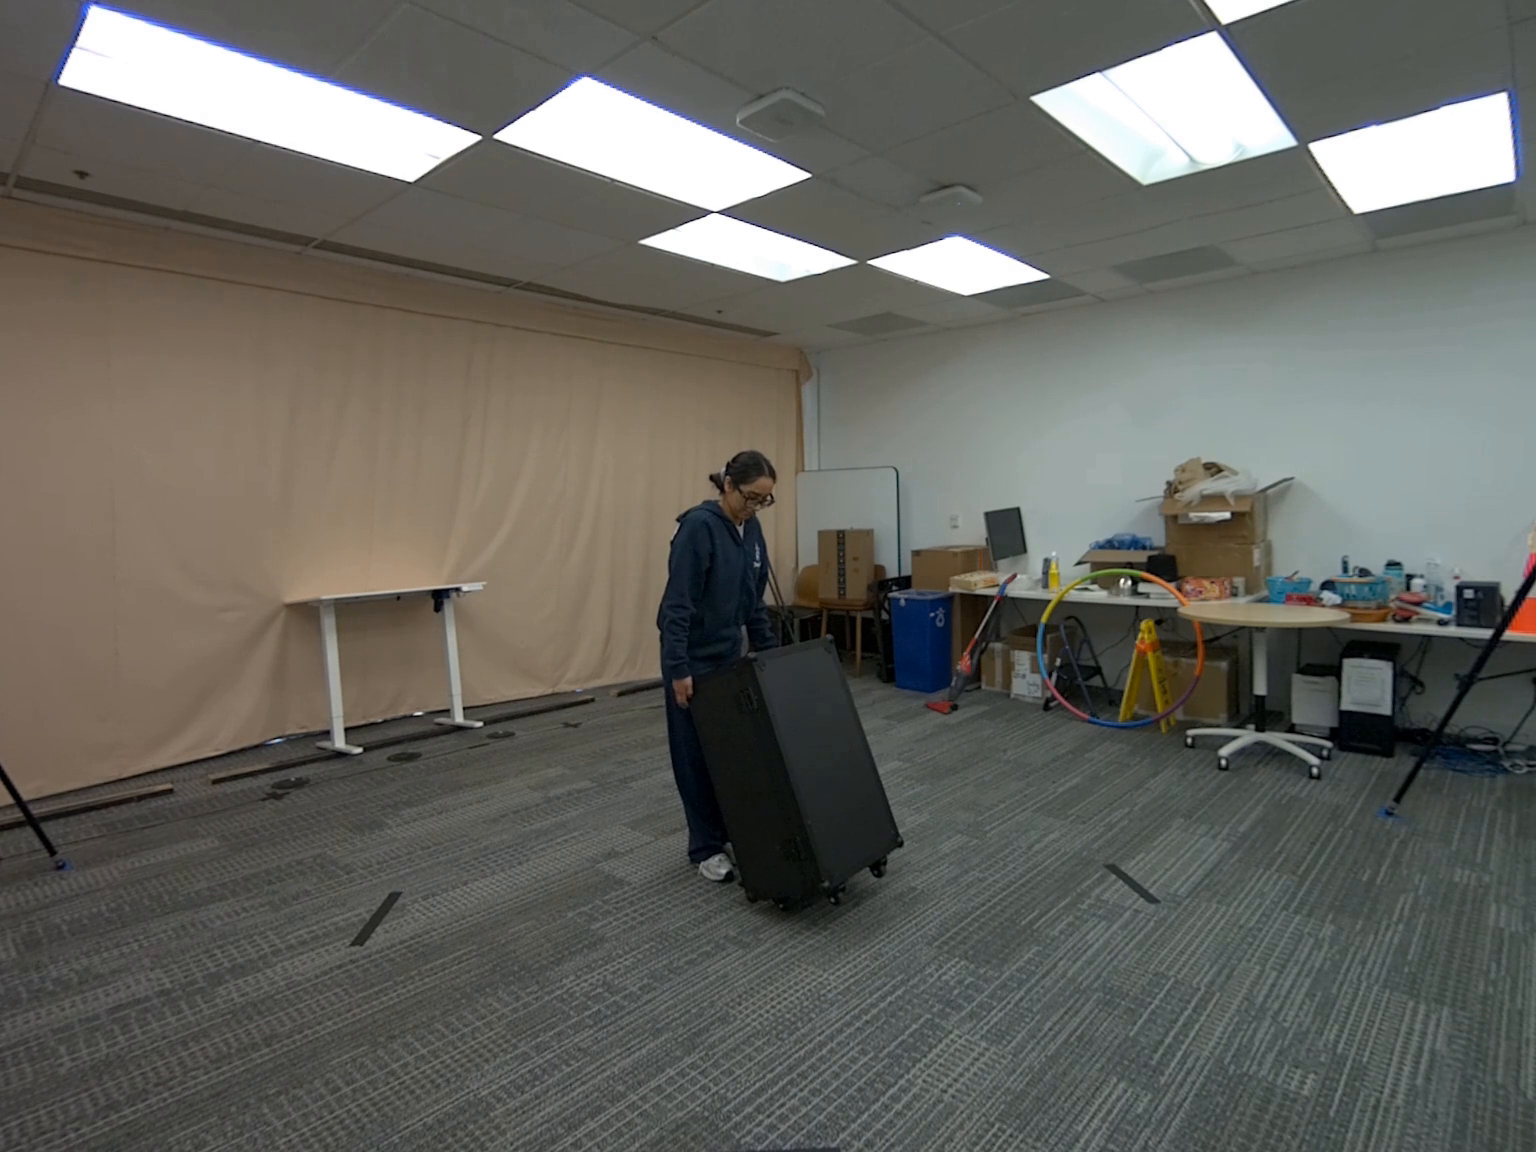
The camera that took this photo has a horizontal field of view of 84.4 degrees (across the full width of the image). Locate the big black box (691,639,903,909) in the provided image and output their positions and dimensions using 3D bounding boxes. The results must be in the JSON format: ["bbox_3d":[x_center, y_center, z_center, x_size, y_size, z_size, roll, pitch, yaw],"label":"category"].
[{"bbox_3d":[0.093,0.707,3.002,0.404,0.871,0.506,-28,-15,38],"label":"big black box"}]
